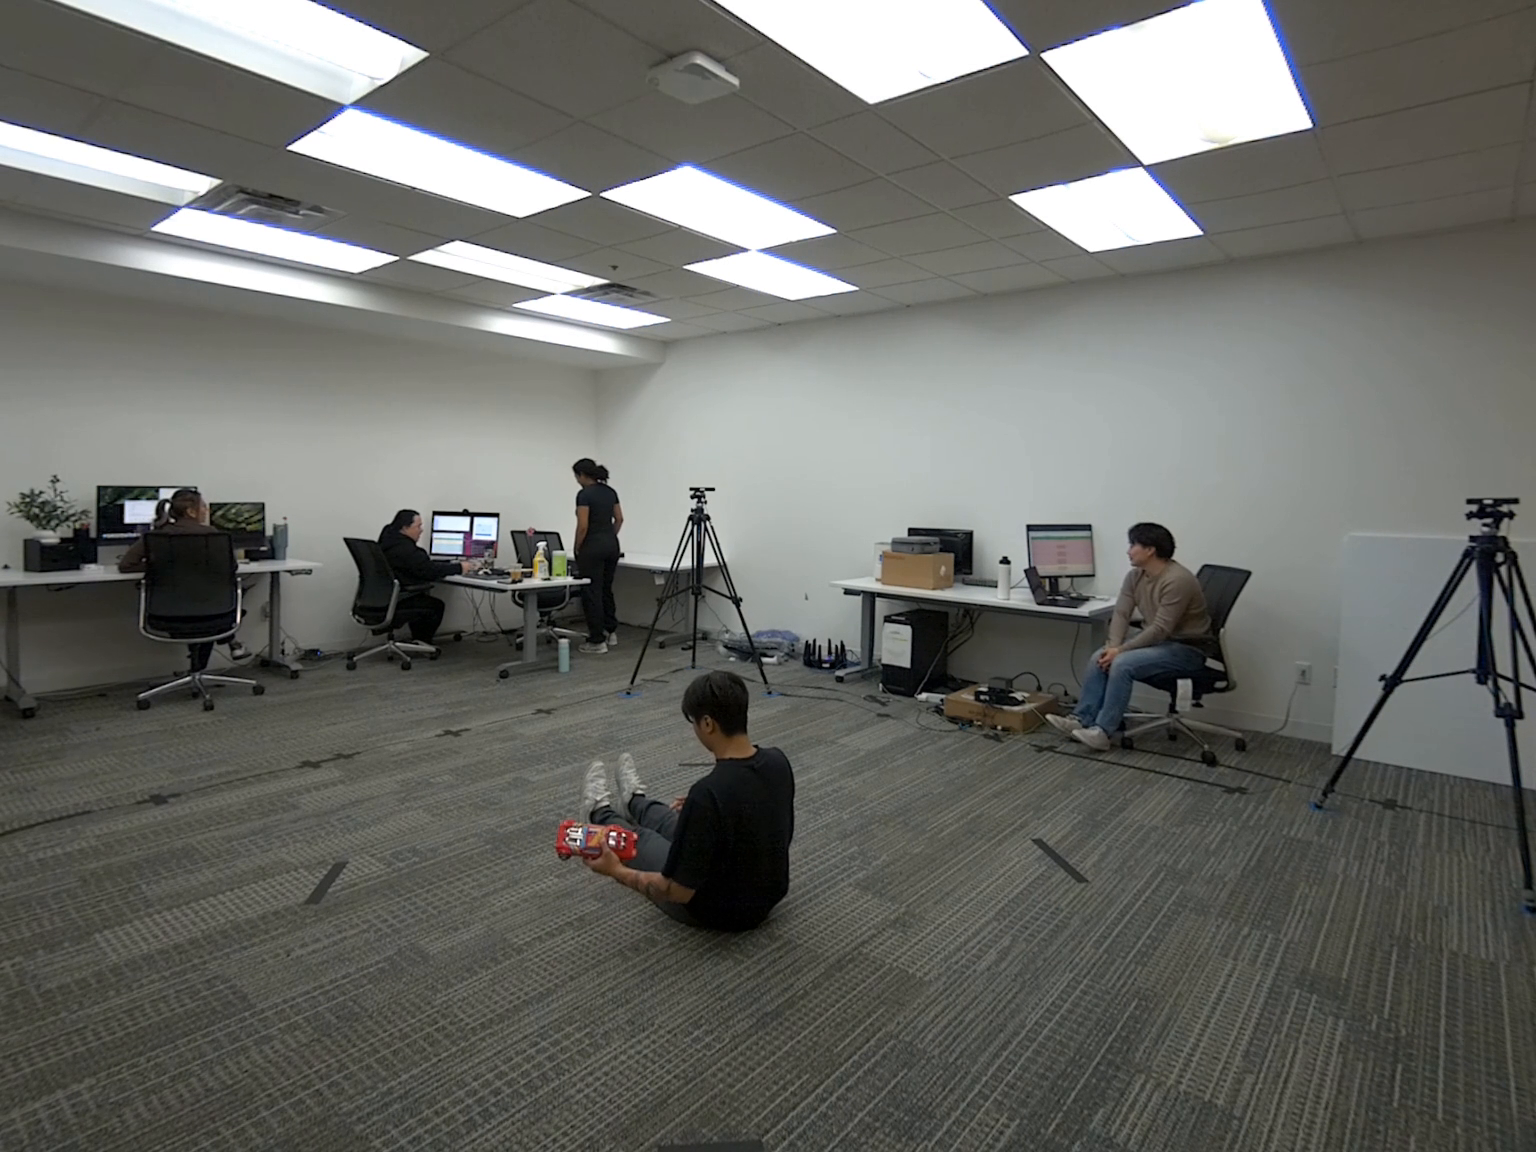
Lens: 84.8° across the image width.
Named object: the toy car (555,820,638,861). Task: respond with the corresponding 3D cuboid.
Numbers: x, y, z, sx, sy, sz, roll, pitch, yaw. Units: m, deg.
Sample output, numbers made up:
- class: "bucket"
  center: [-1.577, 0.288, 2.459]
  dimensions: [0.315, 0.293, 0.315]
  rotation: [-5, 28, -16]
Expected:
- class: "toy car"
  center: [-0.540, 0.840, 2.680]
  dimensions: [0.254, 0.081, 0.134]
  rotation: [3, 47, -1]
